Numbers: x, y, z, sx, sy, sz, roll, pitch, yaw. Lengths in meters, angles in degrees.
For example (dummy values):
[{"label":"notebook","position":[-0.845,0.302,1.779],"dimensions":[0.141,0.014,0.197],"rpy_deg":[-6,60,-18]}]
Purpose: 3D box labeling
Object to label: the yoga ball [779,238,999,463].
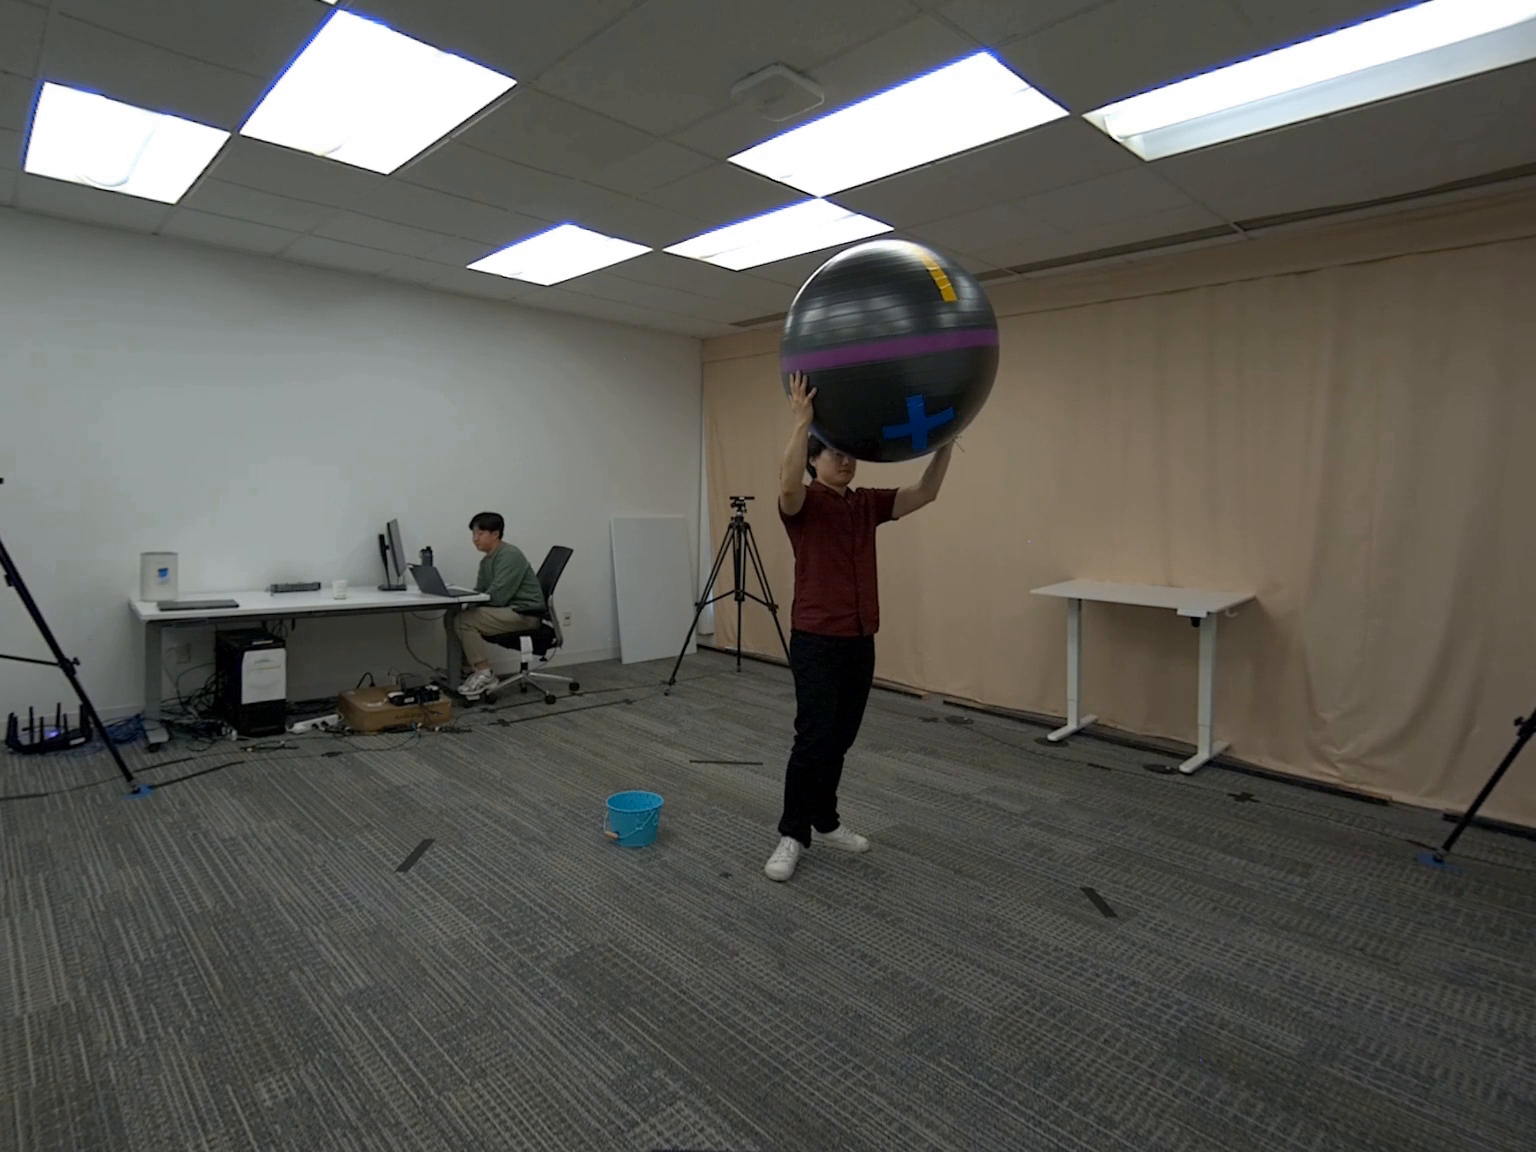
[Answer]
[{"label":"yoga ball","position":[0.421,-0.776,2.965],"dimensions":[0.757,0.756,0.761],"rpy_deg":[1,4,-1]}]
